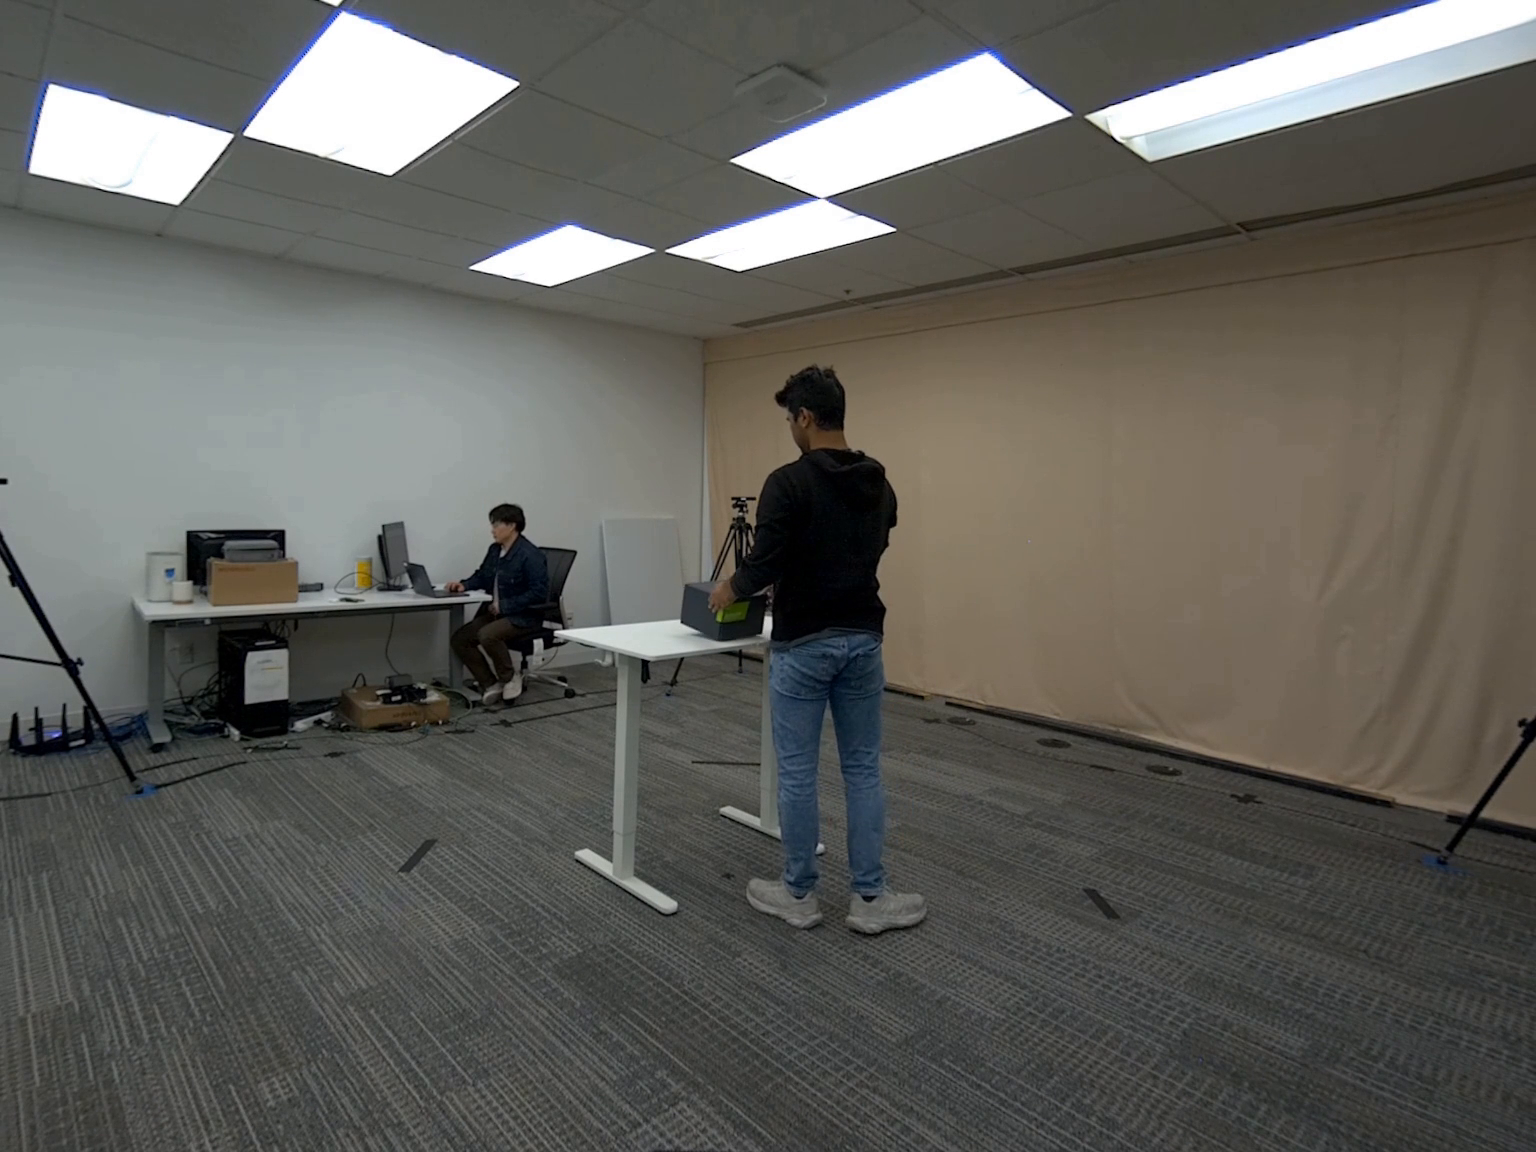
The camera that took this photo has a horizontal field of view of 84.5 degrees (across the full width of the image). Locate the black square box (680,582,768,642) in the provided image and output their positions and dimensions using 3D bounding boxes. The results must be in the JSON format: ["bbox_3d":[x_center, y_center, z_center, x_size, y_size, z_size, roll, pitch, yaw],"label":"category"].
[{"bbox_3d":[-0.154,0.117,3.118,0.223,0.155,0.223,19,16,42],"label":"black square box"}]
